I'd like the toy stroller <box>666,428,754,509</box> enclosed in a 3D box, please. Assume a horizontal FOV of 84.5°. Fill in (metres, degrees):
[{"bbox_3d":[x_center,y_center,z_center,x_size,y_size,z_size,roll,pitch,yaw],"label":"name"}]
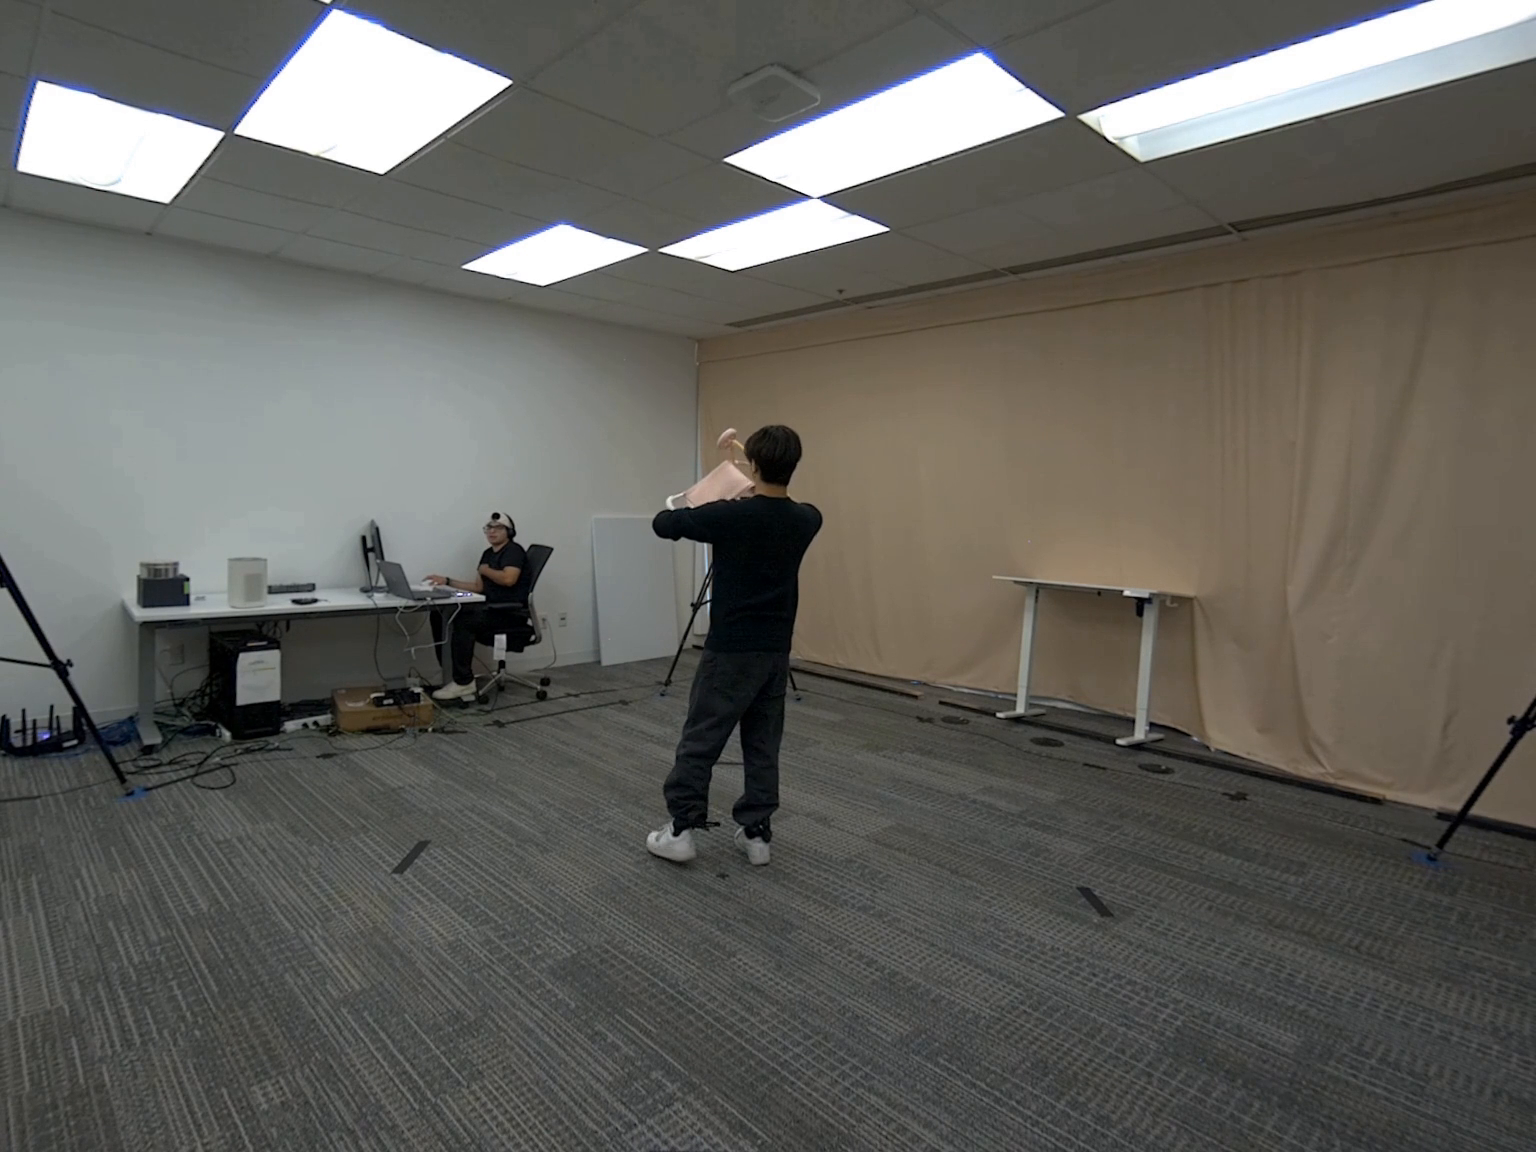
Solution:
[{"bbox_3d":[-0.194,-0.387,3.730,0.286,0.535,0.336,43,-5,13],"label":"toy stroller"}]
